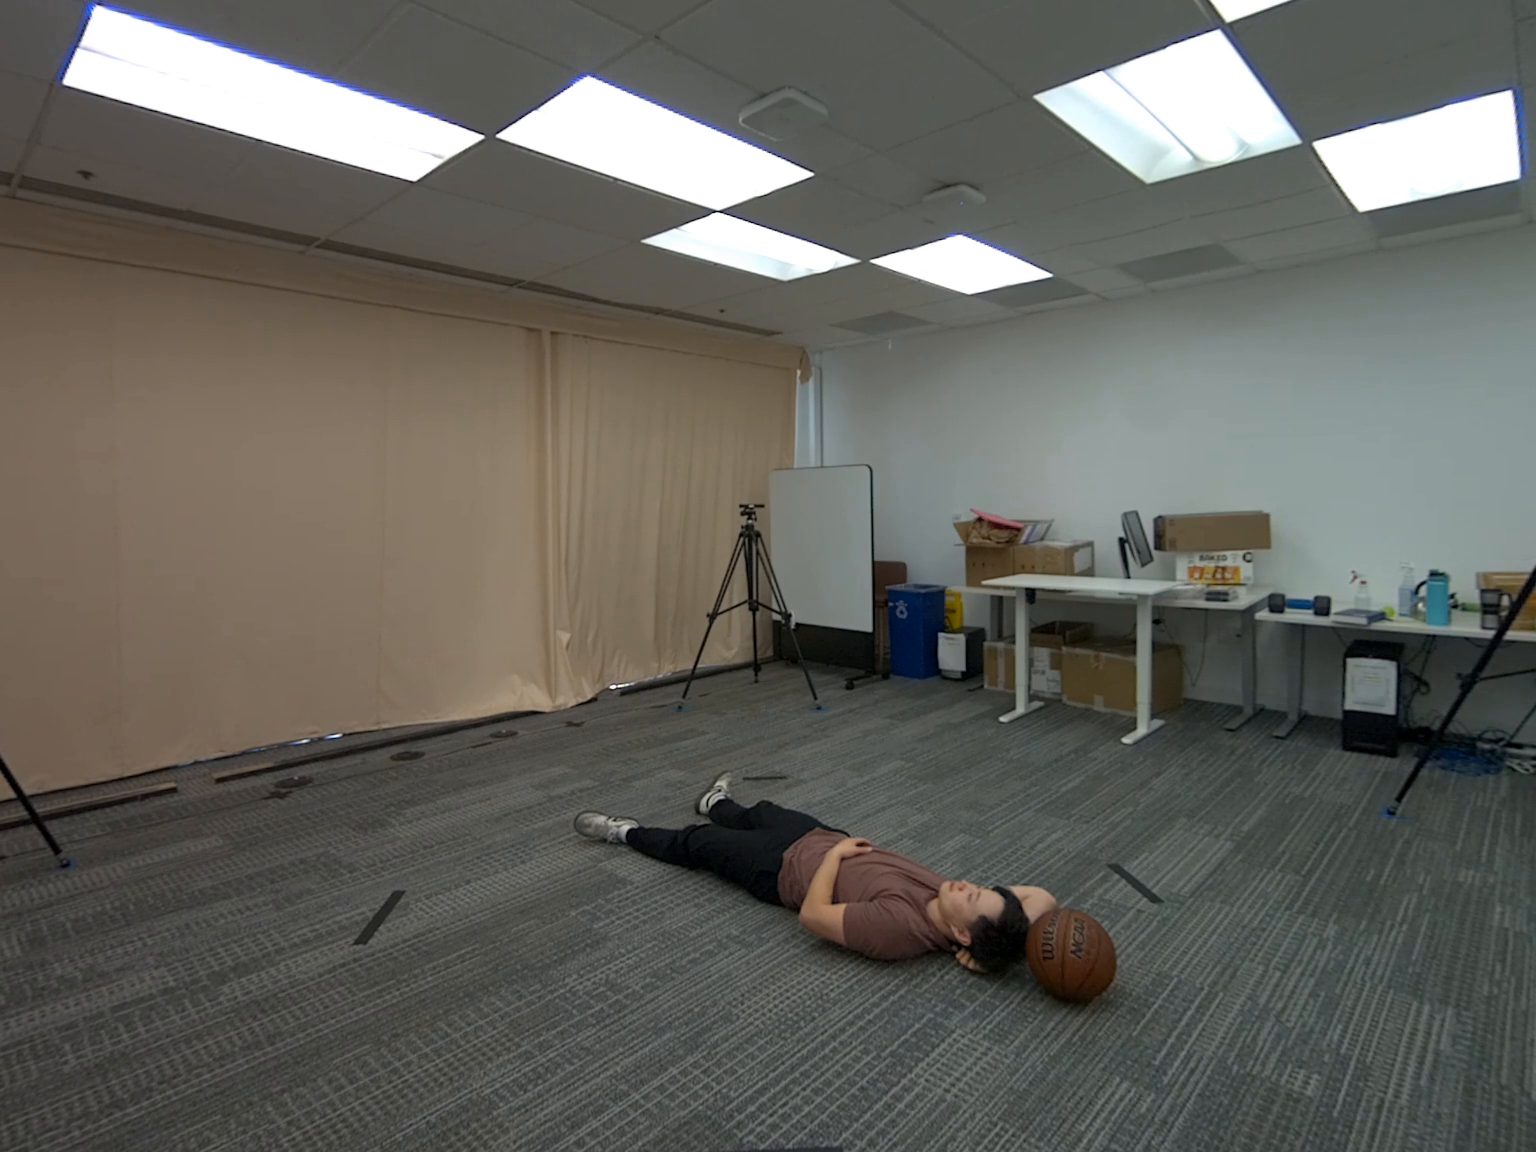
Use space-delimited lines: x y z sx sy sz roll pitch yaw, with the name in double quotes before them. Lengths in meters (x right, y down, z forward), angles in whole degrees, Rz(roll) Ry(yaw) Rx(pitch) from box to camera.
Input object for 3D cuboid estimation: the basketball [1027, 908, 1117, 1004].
"basketball" 0.853 1.051 2.369 0.236 0.235 0.236 -1 3 -2
